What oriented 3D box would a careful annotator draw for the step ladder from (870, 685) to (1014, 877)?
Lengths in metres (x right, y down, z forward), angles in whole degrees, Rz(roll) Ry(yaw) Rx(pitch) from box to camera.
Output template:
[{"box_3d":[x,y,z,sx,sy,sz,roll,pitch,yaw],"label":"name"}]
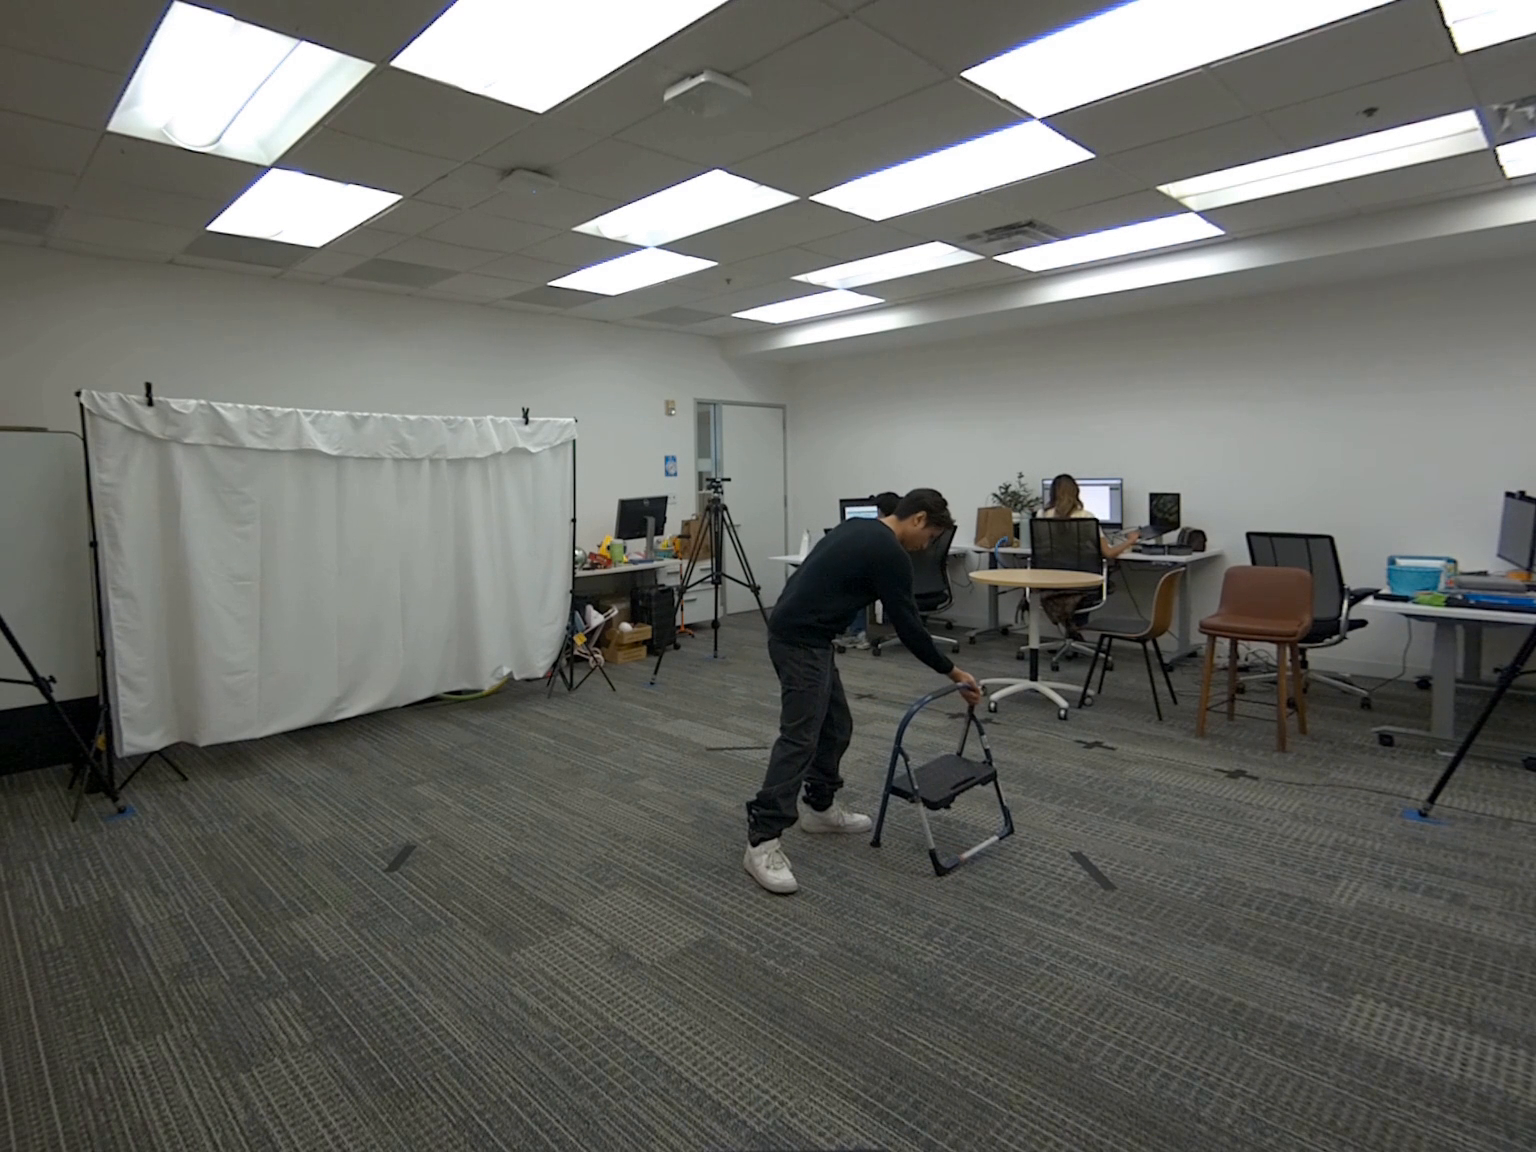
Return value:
[{"box_3d":[0.620,0.695,3.169,0.421,0.601,0.359,-13,10,-35],"label":"step ladder"}]
